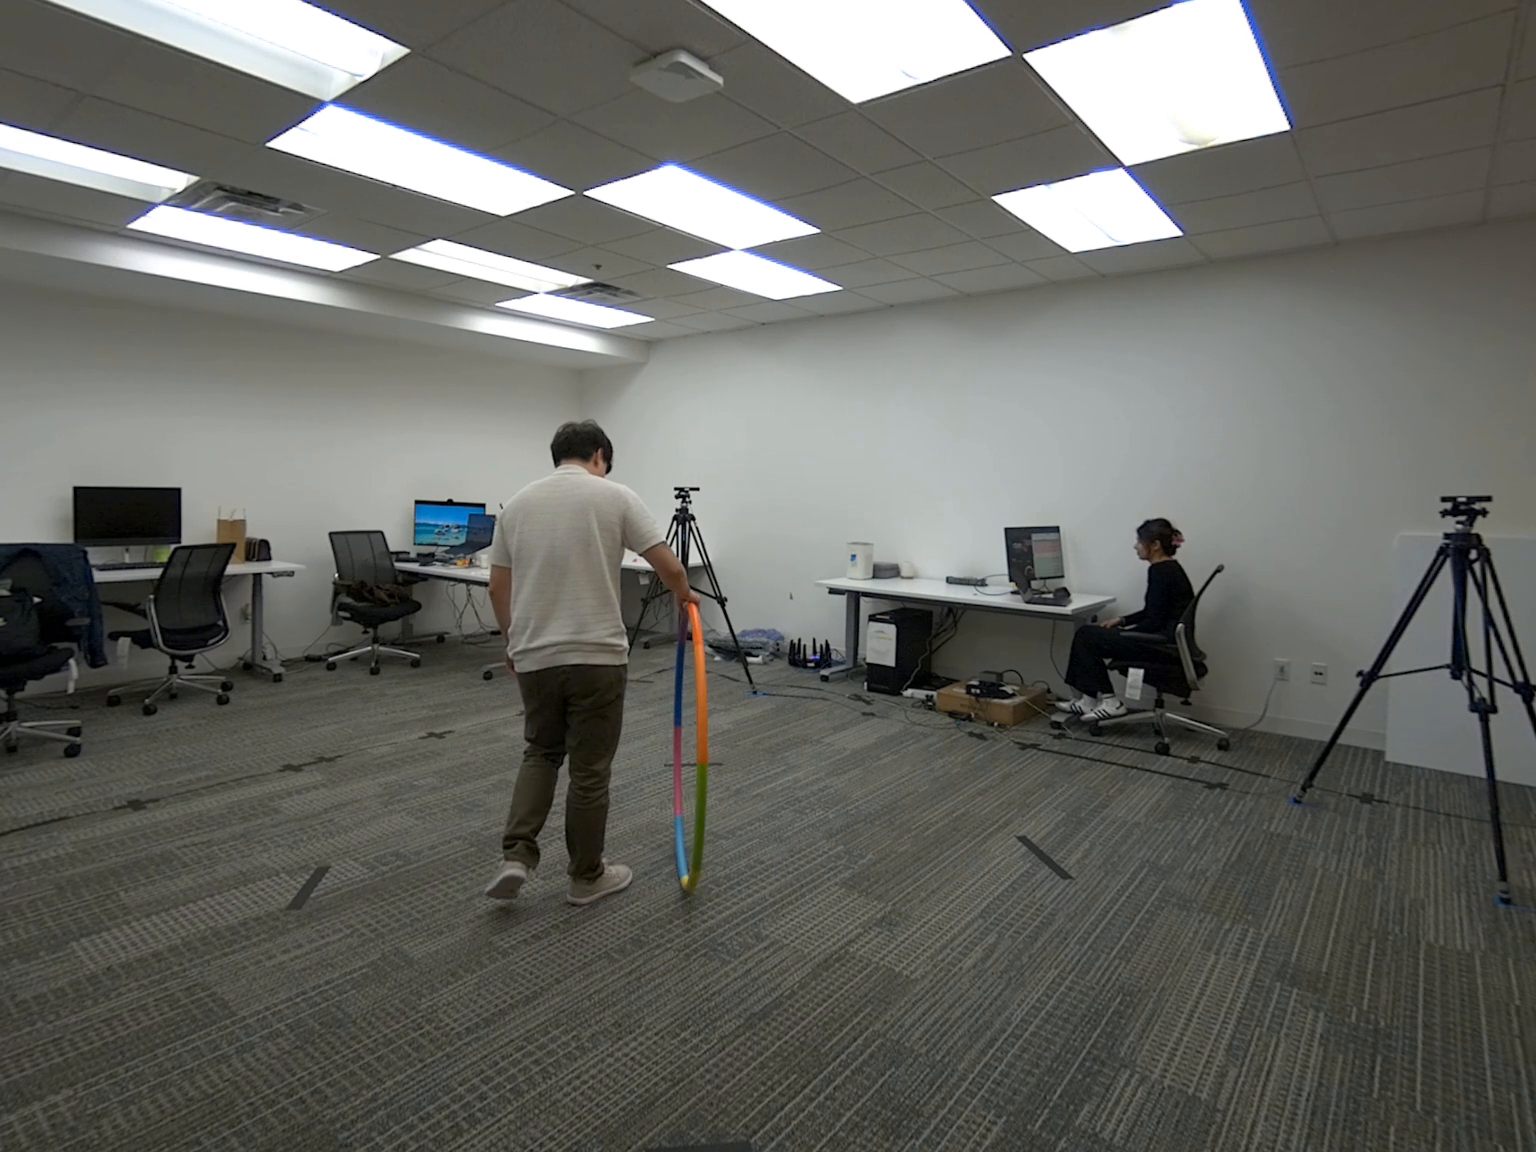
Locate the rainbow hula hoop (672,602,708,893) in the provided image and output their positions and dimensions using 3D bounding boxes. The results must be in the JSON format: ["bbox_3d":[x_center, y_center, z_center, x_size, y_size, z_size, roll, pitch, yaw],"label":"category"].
[{"bbox_3d":[-0.298,0.584,3.009,0.035,0.976,0.990,1,4,-9],"label":"rainbow hula hoop"}]
